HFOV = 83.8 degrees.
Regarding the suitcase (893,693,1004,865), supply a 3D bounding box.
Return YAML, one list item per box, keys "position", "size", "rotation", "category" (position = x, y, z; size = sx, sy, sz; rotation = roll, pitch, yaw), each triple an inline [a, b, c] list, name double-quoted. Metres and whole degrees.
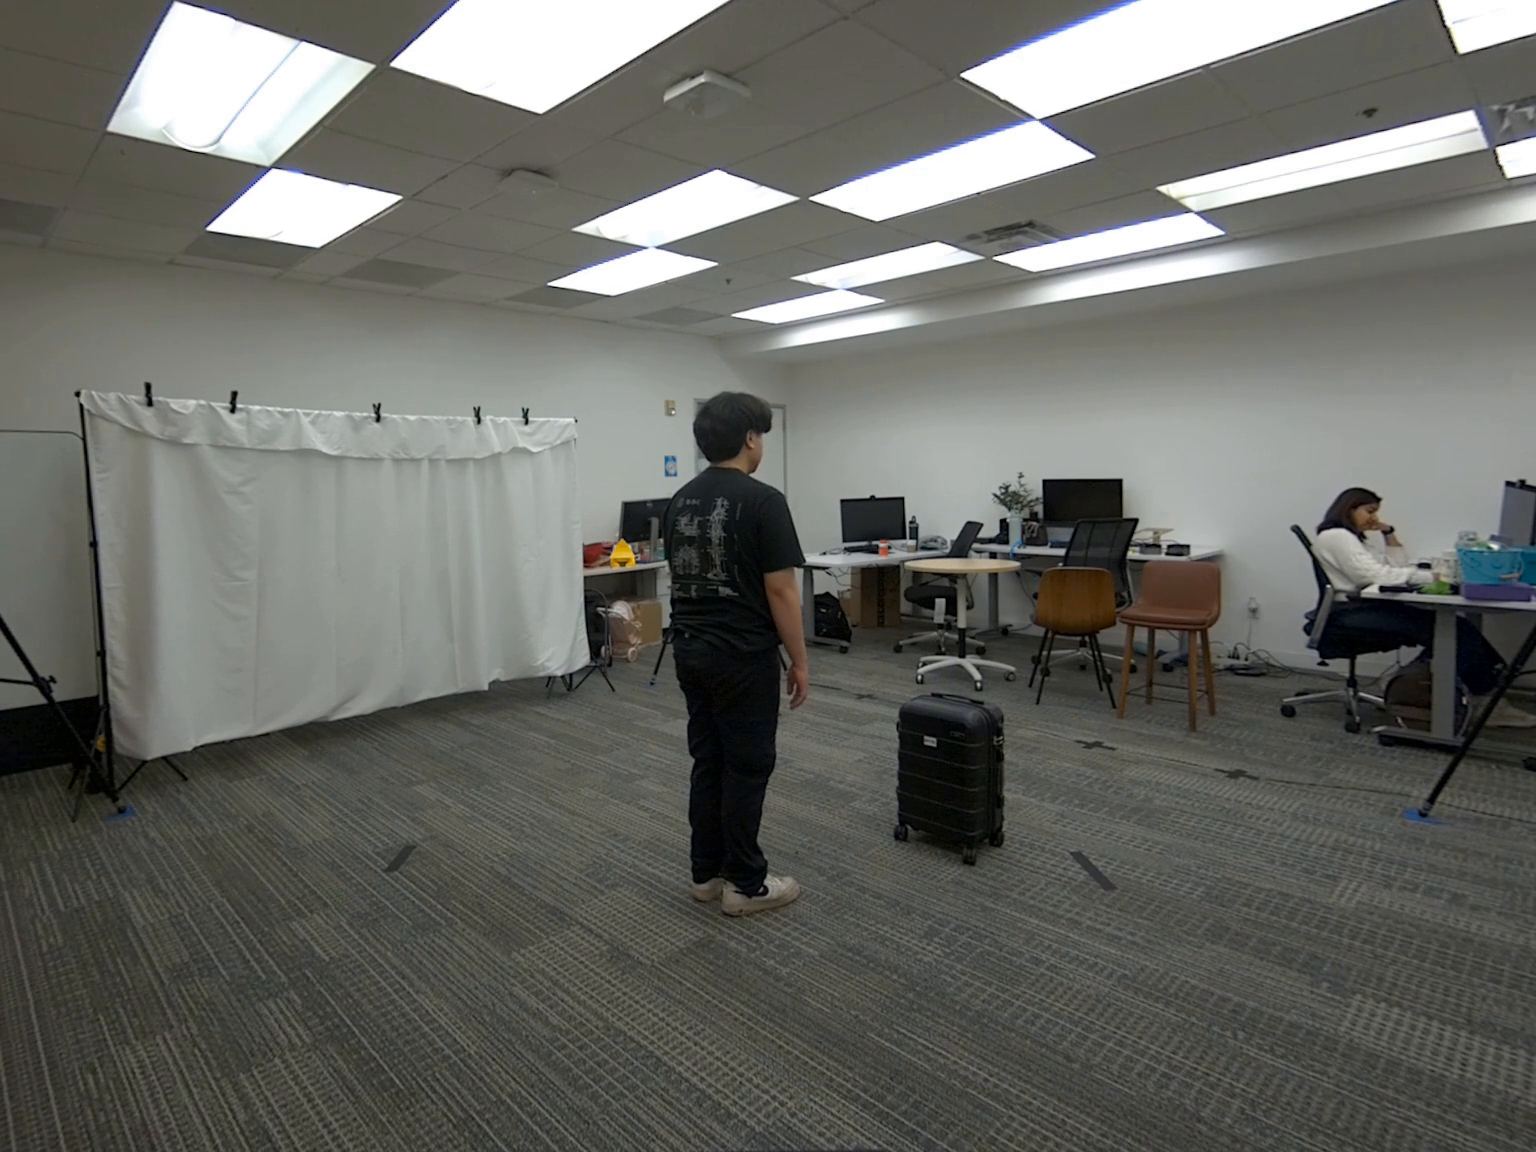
- position: [0.700, 0.737, 3.249]
  size: [0.387, 0.548, 0.241]
  rotation: [3, 4, 44]
  category: "suitcase"
